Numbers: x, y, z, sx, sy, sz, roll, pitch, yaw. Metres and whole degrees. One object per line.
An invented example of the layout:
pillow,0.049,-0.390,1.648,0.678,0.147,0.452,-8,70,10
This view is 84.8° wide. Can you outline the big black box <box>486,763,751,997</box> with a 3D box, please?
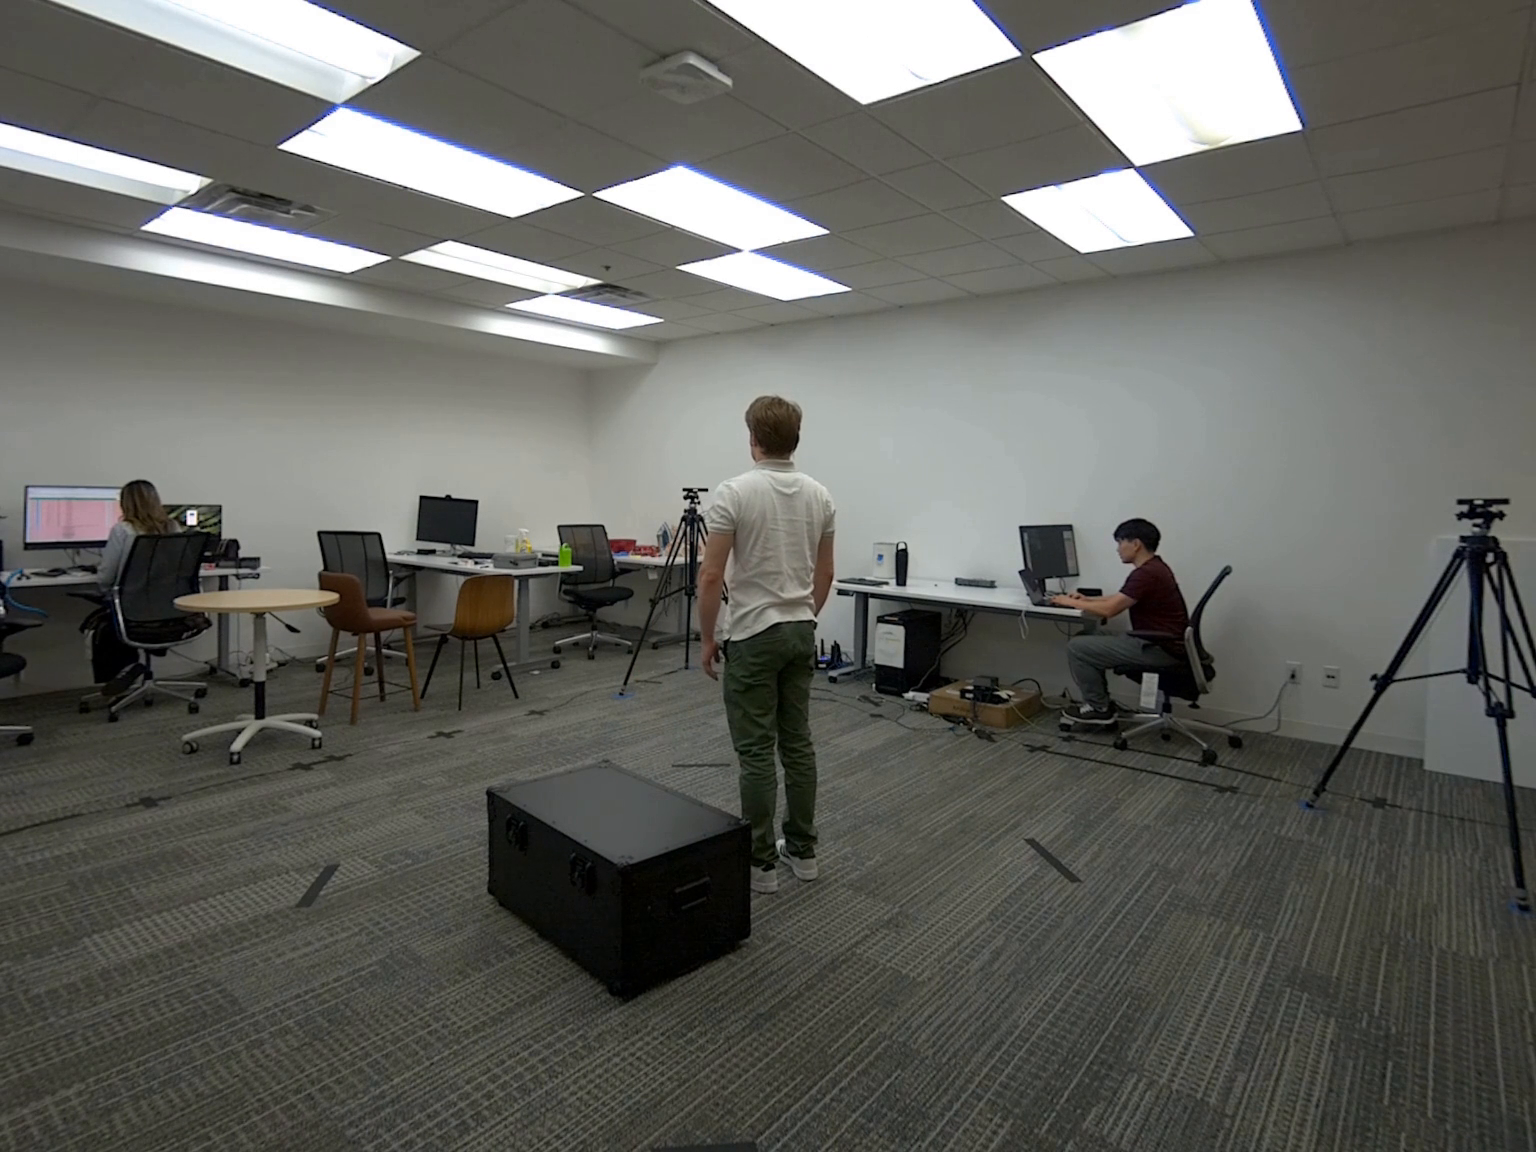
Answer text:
big black box,-0.524,0.904,2.743,0.508,0.383,0.898,-5,8,-42
